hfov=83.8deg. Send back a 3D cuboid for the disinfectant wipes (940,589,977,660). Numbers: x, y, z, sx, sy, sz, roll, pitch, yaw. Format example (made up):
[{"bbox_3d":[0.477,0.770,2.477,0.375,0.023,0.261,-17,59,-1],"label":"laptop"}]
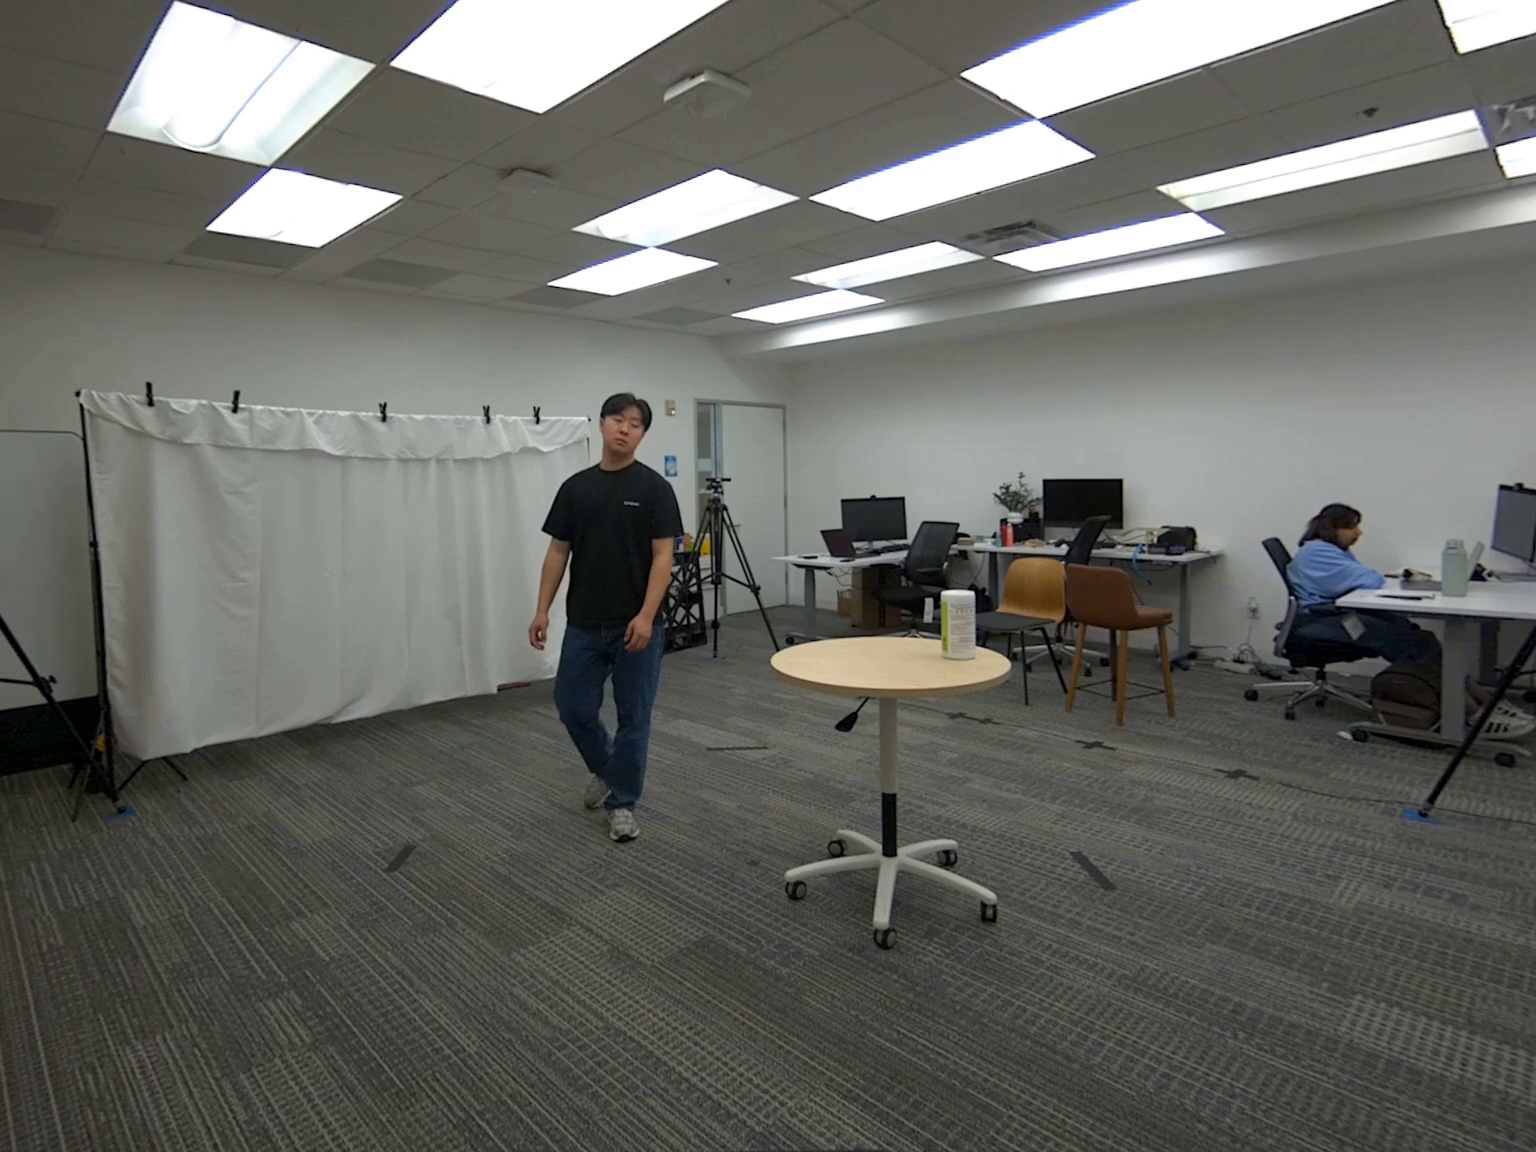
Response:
[{"bbox_3d":[0.633,0.161,2.806,0.118,0.216,0.118,-2,6,-1],"label":"disinfectant wipes"}]
